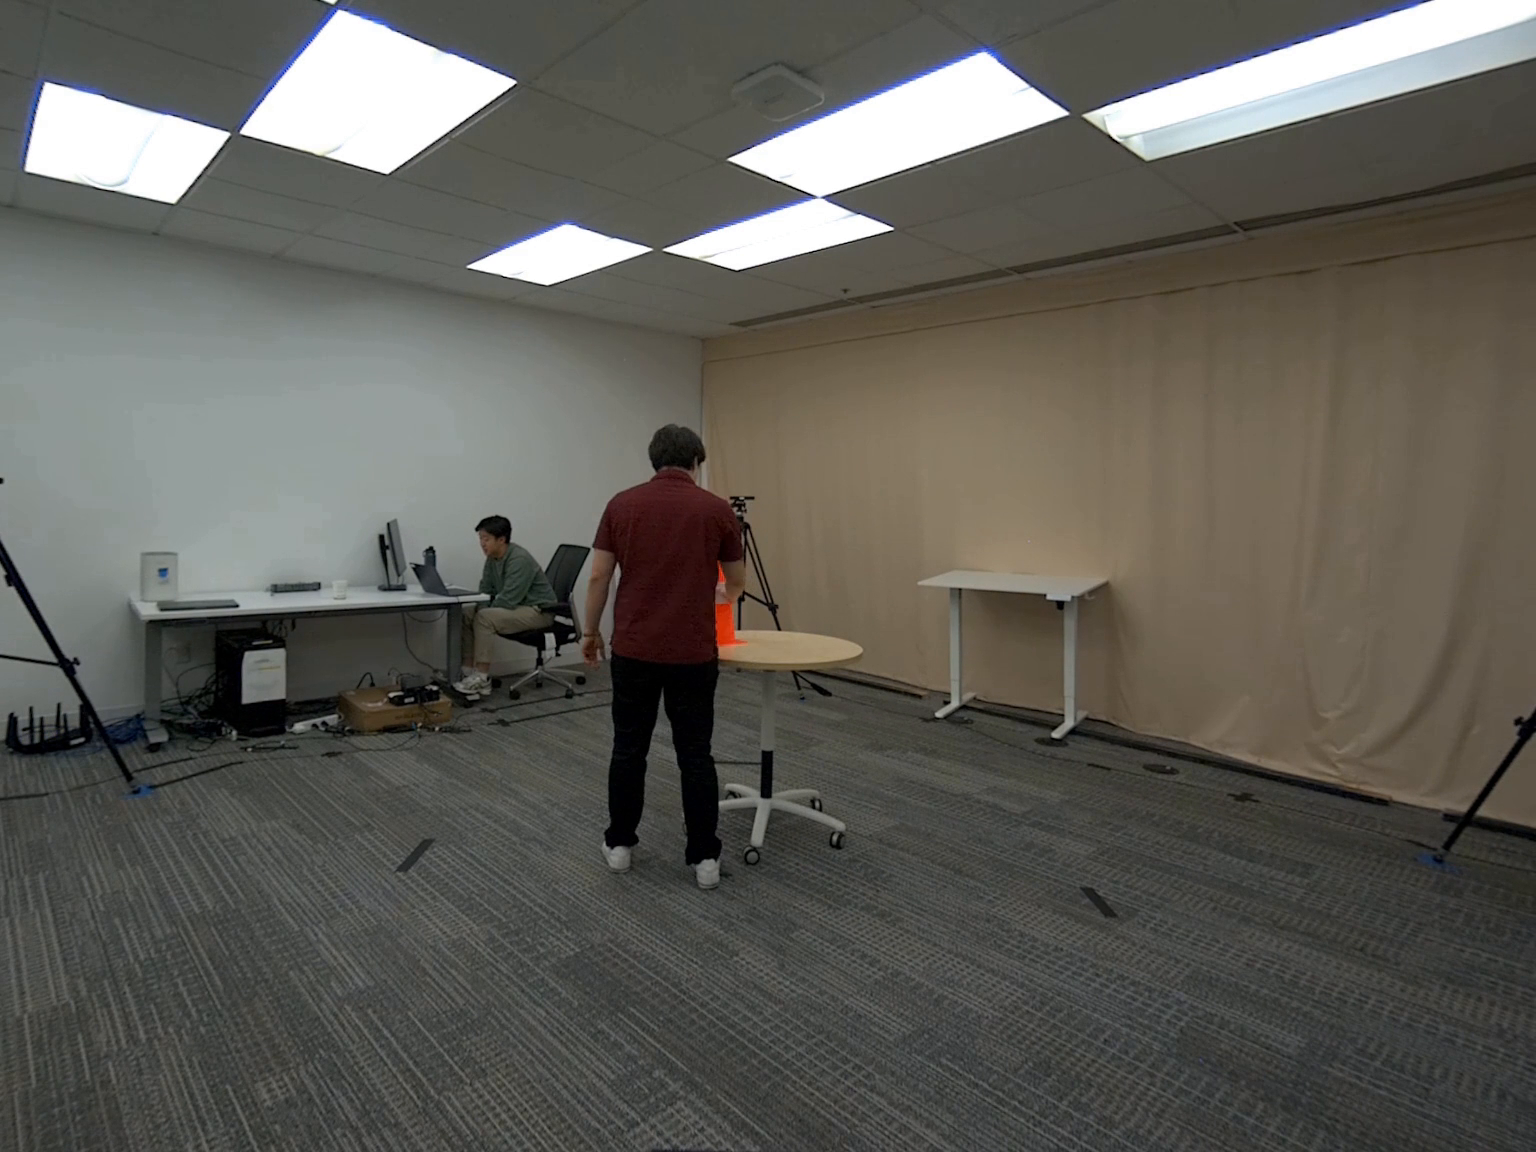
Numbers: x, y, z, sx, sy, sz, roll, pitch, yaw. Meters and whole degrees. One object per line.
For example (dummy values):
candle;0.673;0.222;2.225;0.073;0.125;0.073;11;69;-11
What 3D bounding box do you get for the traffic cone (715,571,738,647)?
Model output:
traffic cone;-0.213;0.092;3.560;0.199;0.382;0.210;-2;6;-43
